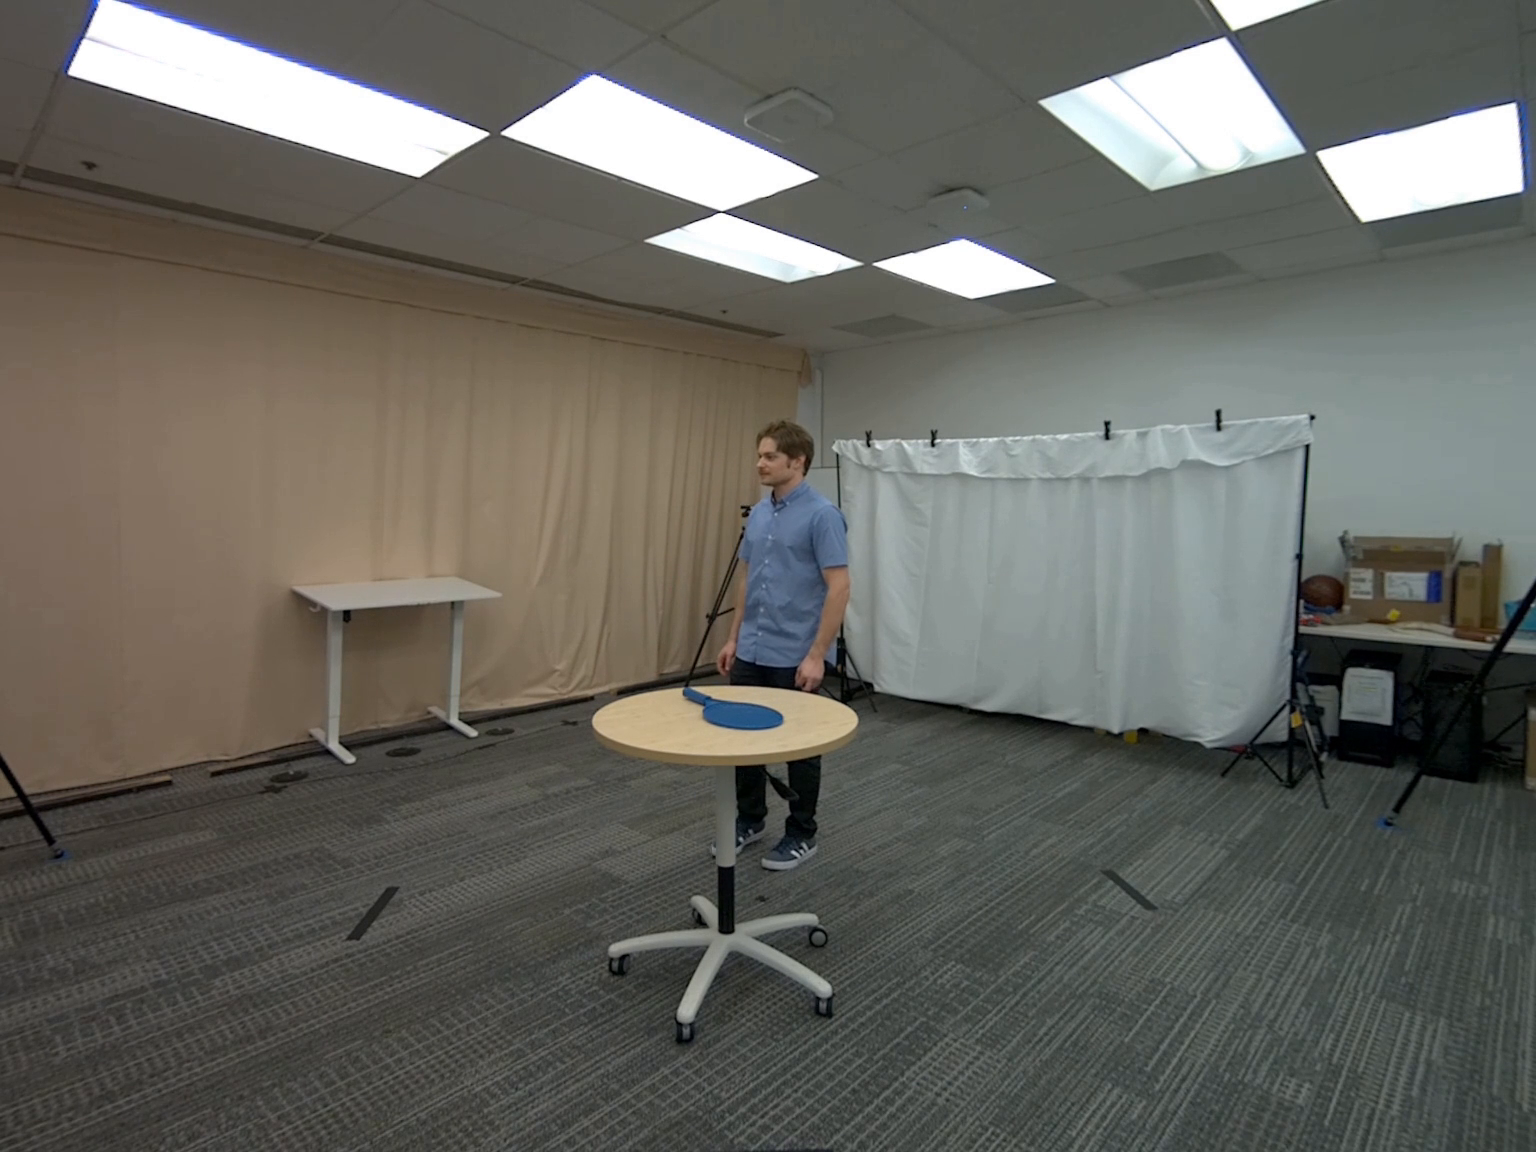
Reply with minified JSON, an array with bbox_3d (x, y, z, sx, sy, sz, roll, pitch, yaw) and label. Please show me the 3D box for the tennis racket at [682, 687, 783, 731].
[{"bbox_3d":[-0.121,0.392,2.475,0.207,0.031,0.447,-5,9,-37],"label":"tennis racket"}]
